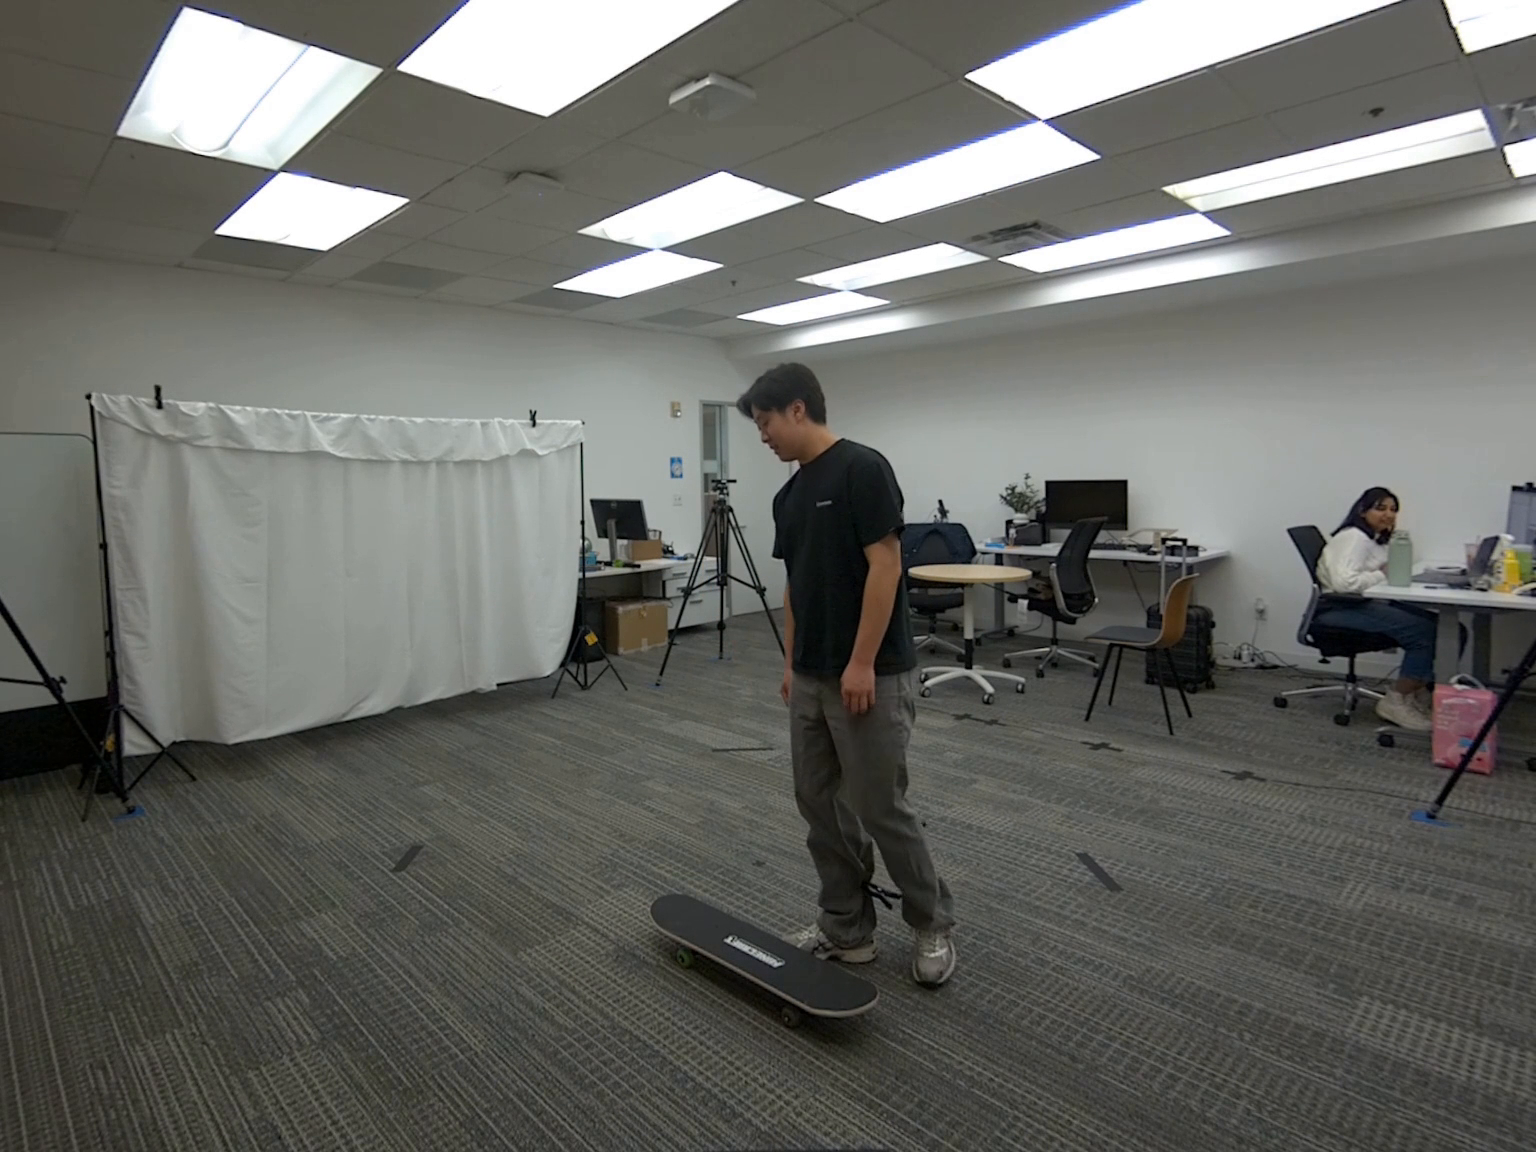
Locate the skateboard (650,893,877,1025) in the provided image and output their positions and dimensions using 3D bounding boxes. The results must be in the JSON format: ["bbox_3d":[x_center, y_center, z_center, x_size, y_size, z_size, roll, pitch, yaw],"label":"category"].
[{"bbox_3d":[-0.035,1.076,2.377,0.810,0.110,0.188,5,8,43],"label":"skateboard"}]
